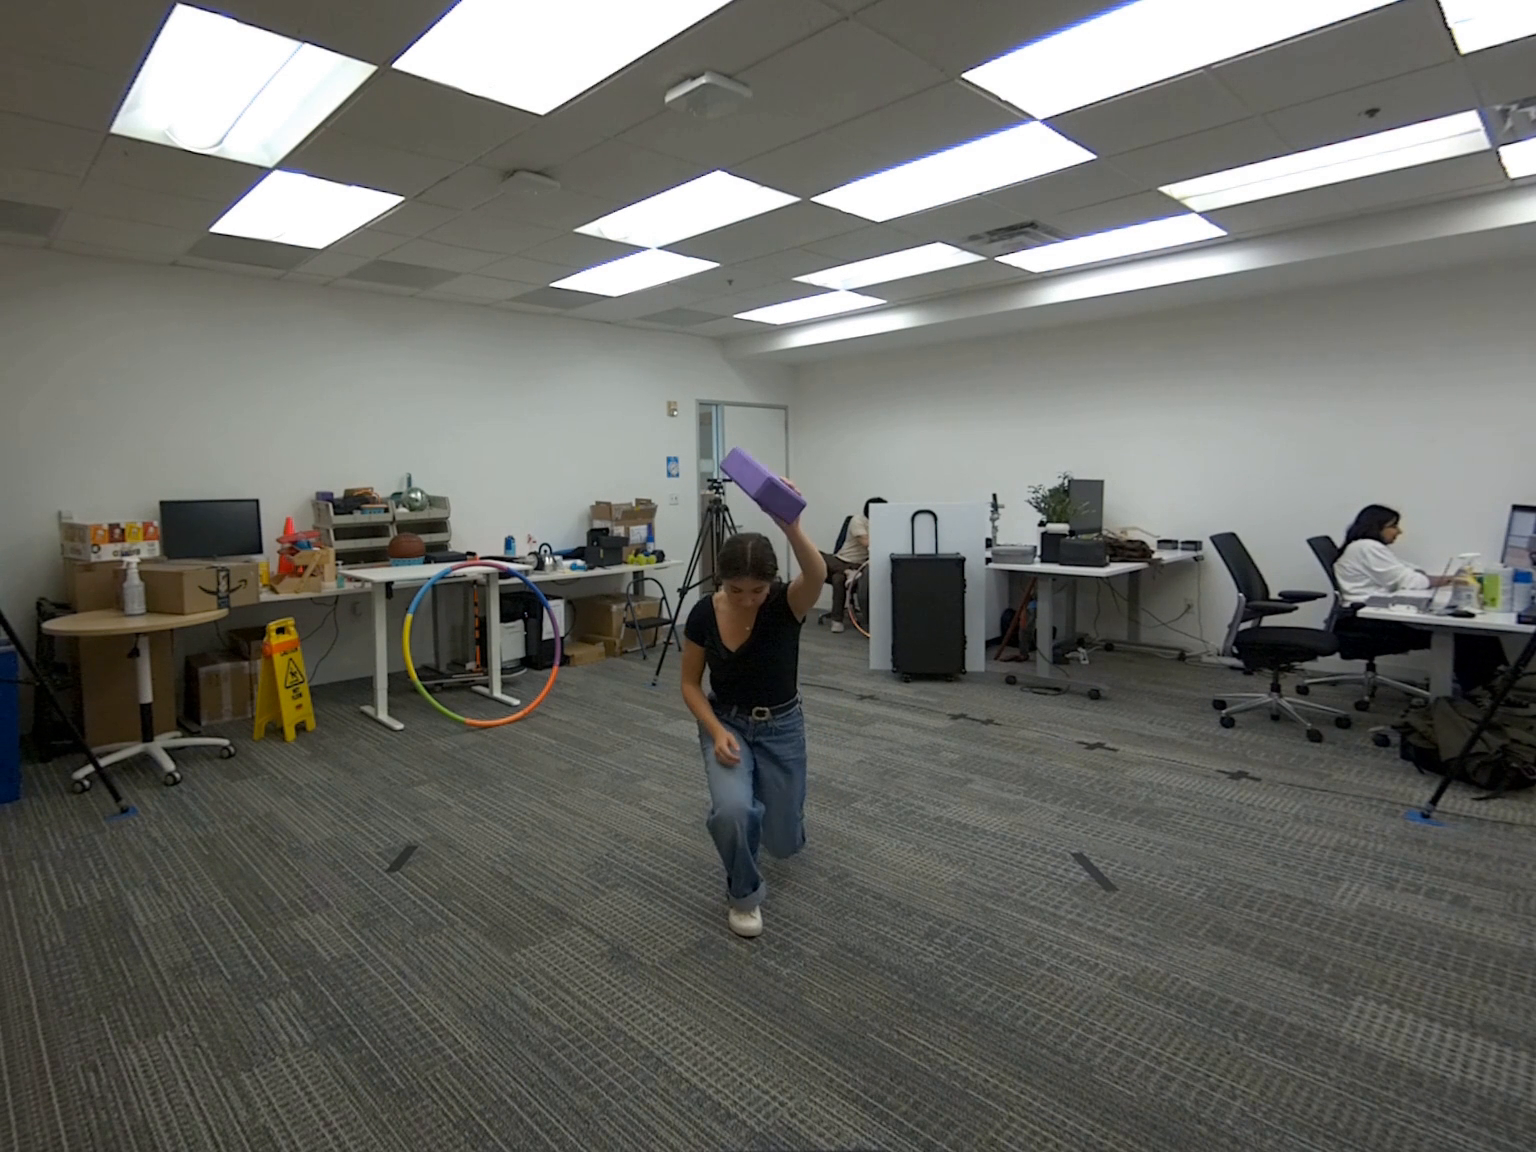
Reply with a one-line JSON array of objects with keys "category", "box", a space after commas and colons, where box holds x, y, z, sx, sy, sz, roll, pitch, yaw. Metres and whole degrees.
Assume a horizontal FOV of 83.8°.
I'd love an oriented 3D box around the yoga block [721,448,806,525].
[{"category": "yoga block", "box": [-0.012, -0.231, 2.218, 0.143, 0.076, 0.238, 32, 10, -37]}]
